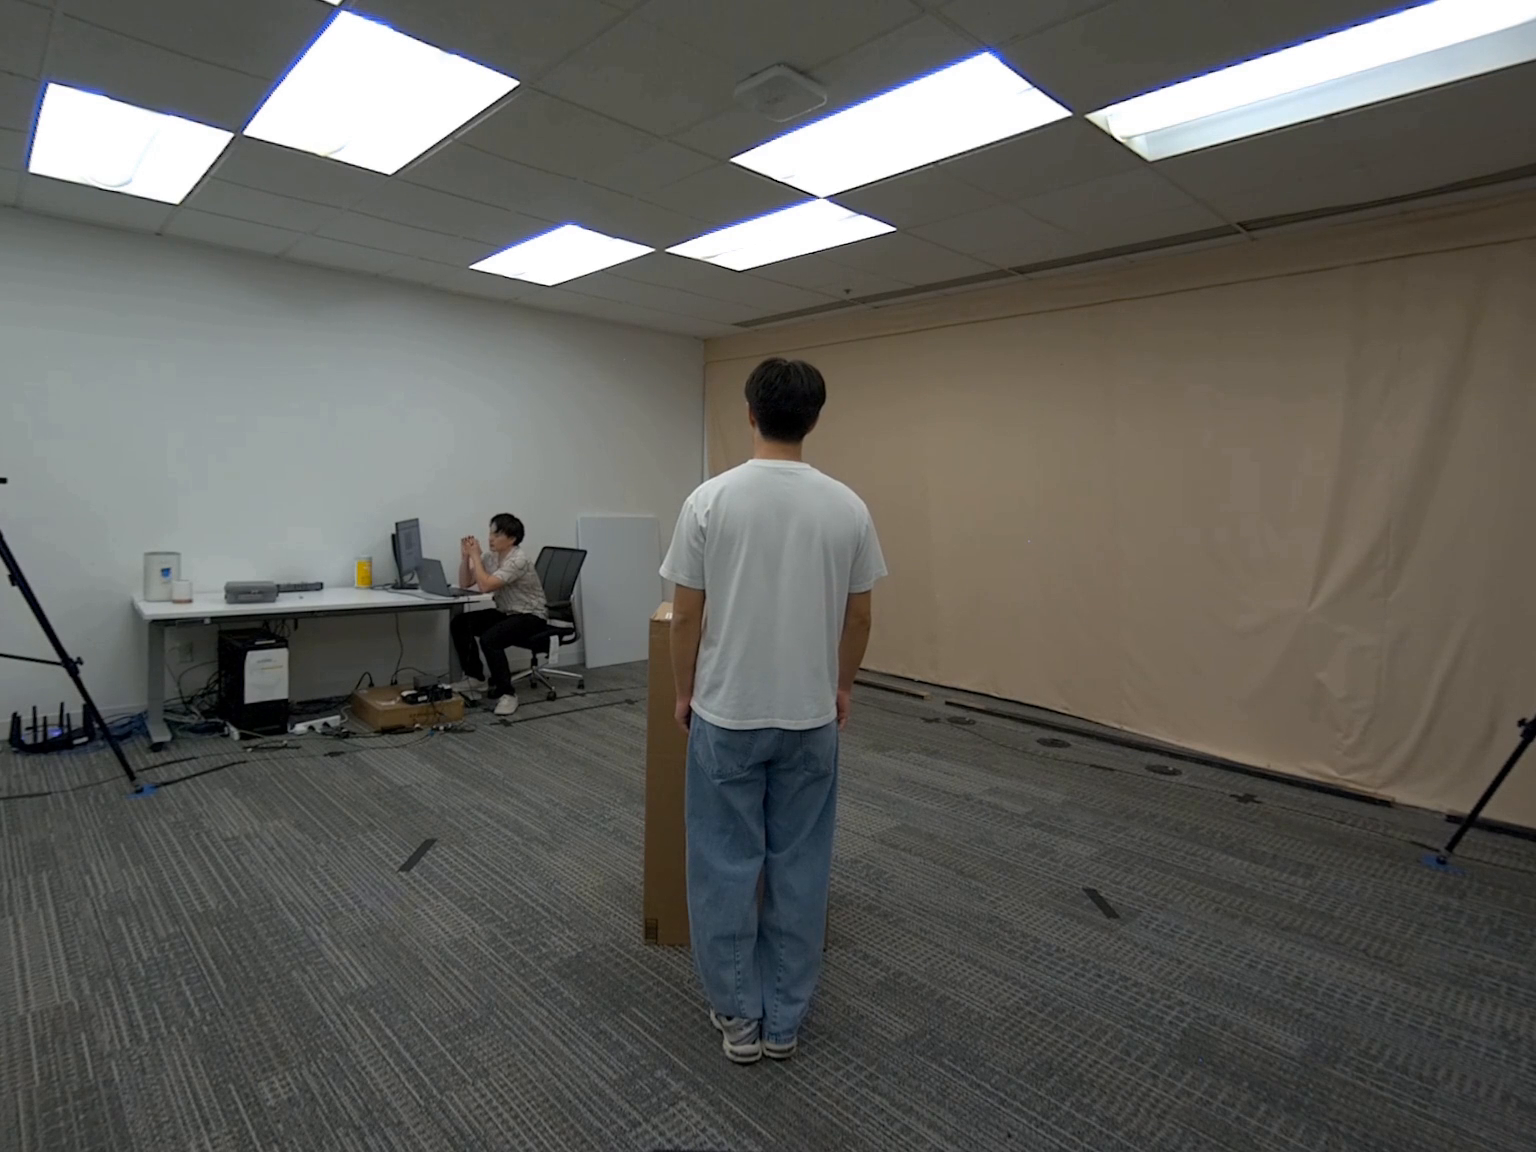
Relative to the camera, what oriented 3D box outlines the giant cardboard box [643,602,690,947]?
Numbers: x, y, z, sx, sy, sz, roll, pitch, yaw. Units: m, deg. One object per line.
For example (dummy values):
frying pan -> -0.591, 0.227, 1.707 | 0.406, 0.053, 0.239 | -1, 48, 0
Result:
giant cardboard box -> -0.100, 0.629, 2.783 | 0.578, 1.023, 0.427 | 1, 3, 0
